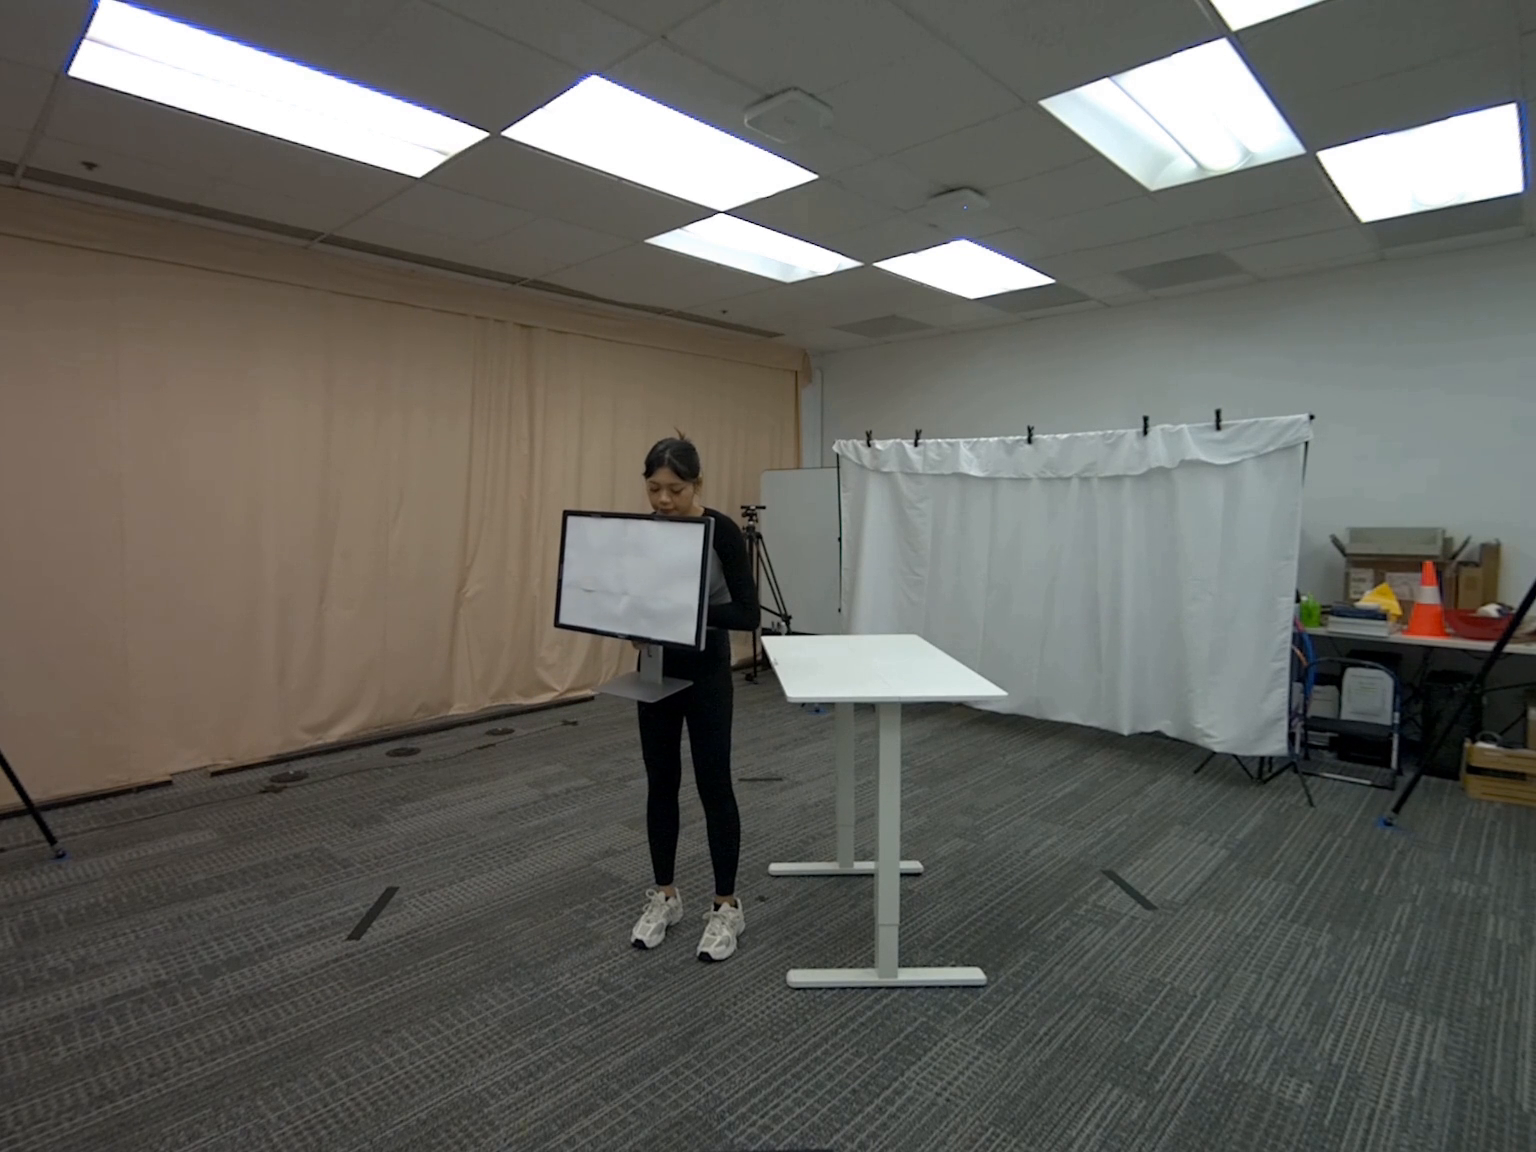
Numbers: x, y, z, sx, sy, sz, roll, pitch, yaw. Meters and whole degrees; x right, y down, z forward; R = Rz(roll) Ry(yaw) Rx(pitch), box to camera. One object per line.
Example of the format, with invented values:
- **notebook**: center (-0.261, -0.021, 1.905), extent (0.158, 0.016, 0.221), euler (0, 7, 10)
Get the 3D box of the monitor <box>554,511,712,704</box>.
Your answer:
- **monitor**: center (-0.373, 0.082, 2.471), extent (0.556, 0.519, 0.182), euler (5, 11, 34)
